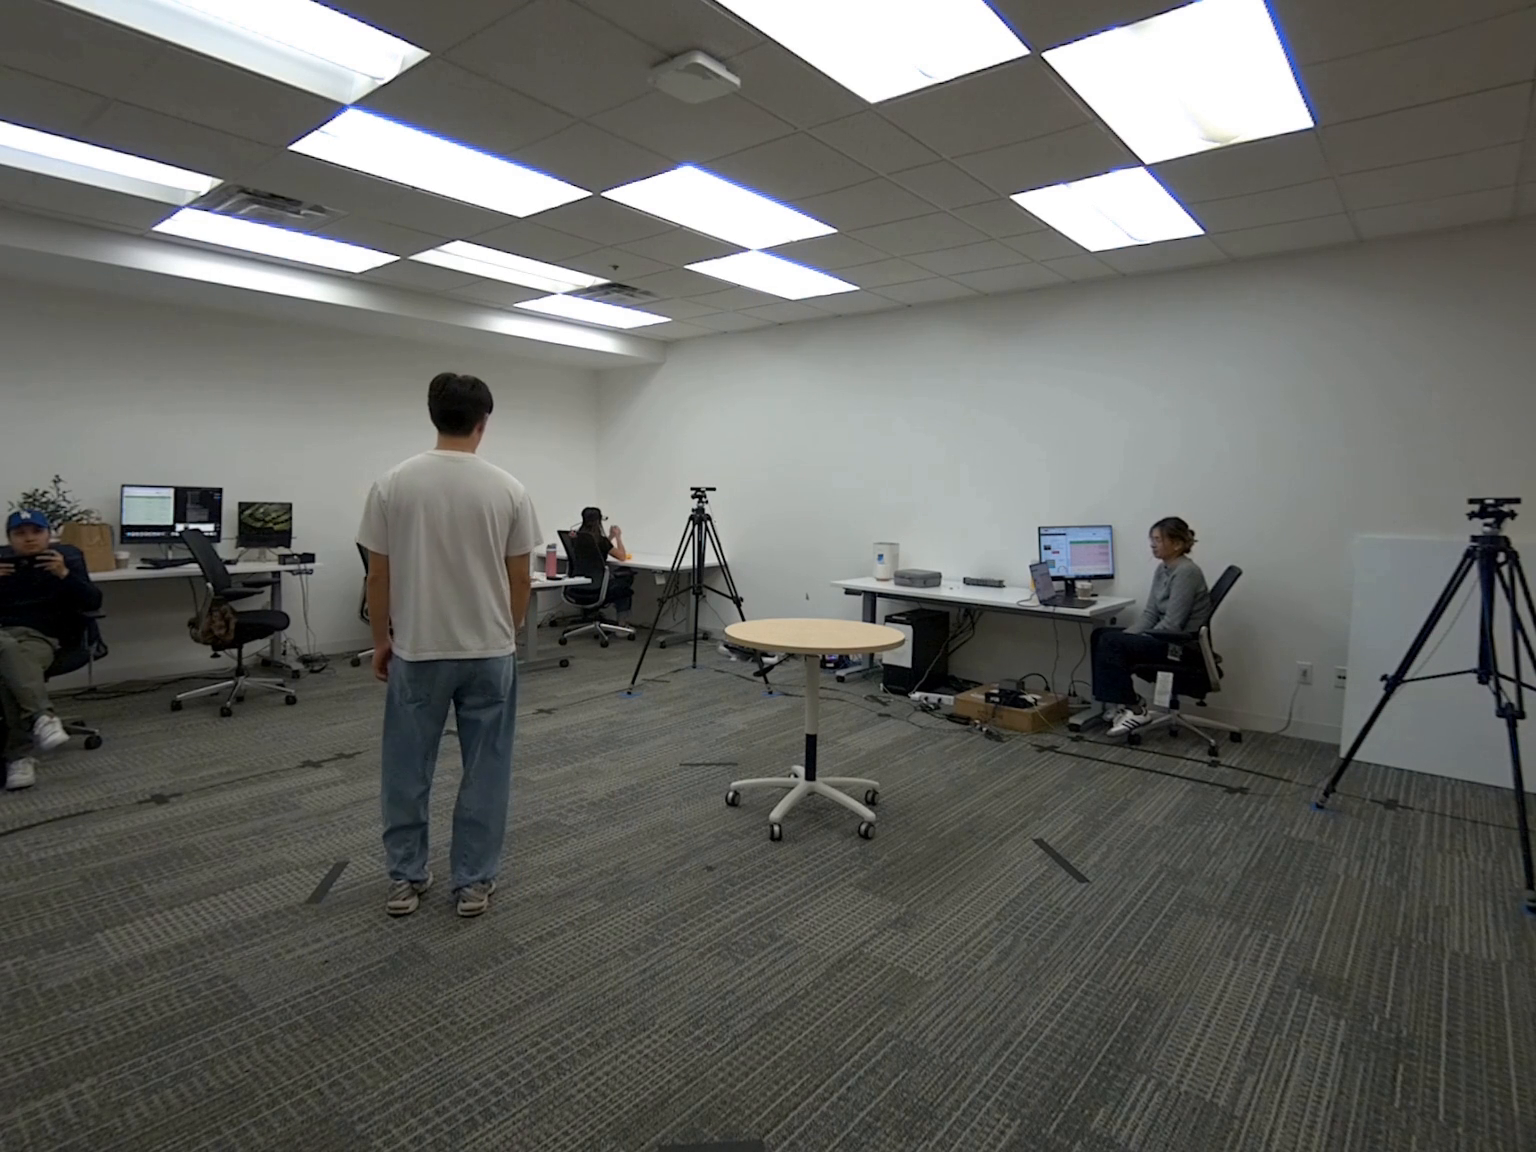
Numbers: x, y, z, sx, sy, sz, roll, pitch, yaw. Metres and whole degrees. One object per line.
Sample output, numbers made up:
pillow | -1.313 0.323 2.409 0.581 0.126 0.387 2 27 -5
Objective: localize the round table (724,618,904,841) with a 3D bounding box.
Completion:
round table | 0.173 0.631 3.668 0.763 0.791 0.768 1 4 -2
